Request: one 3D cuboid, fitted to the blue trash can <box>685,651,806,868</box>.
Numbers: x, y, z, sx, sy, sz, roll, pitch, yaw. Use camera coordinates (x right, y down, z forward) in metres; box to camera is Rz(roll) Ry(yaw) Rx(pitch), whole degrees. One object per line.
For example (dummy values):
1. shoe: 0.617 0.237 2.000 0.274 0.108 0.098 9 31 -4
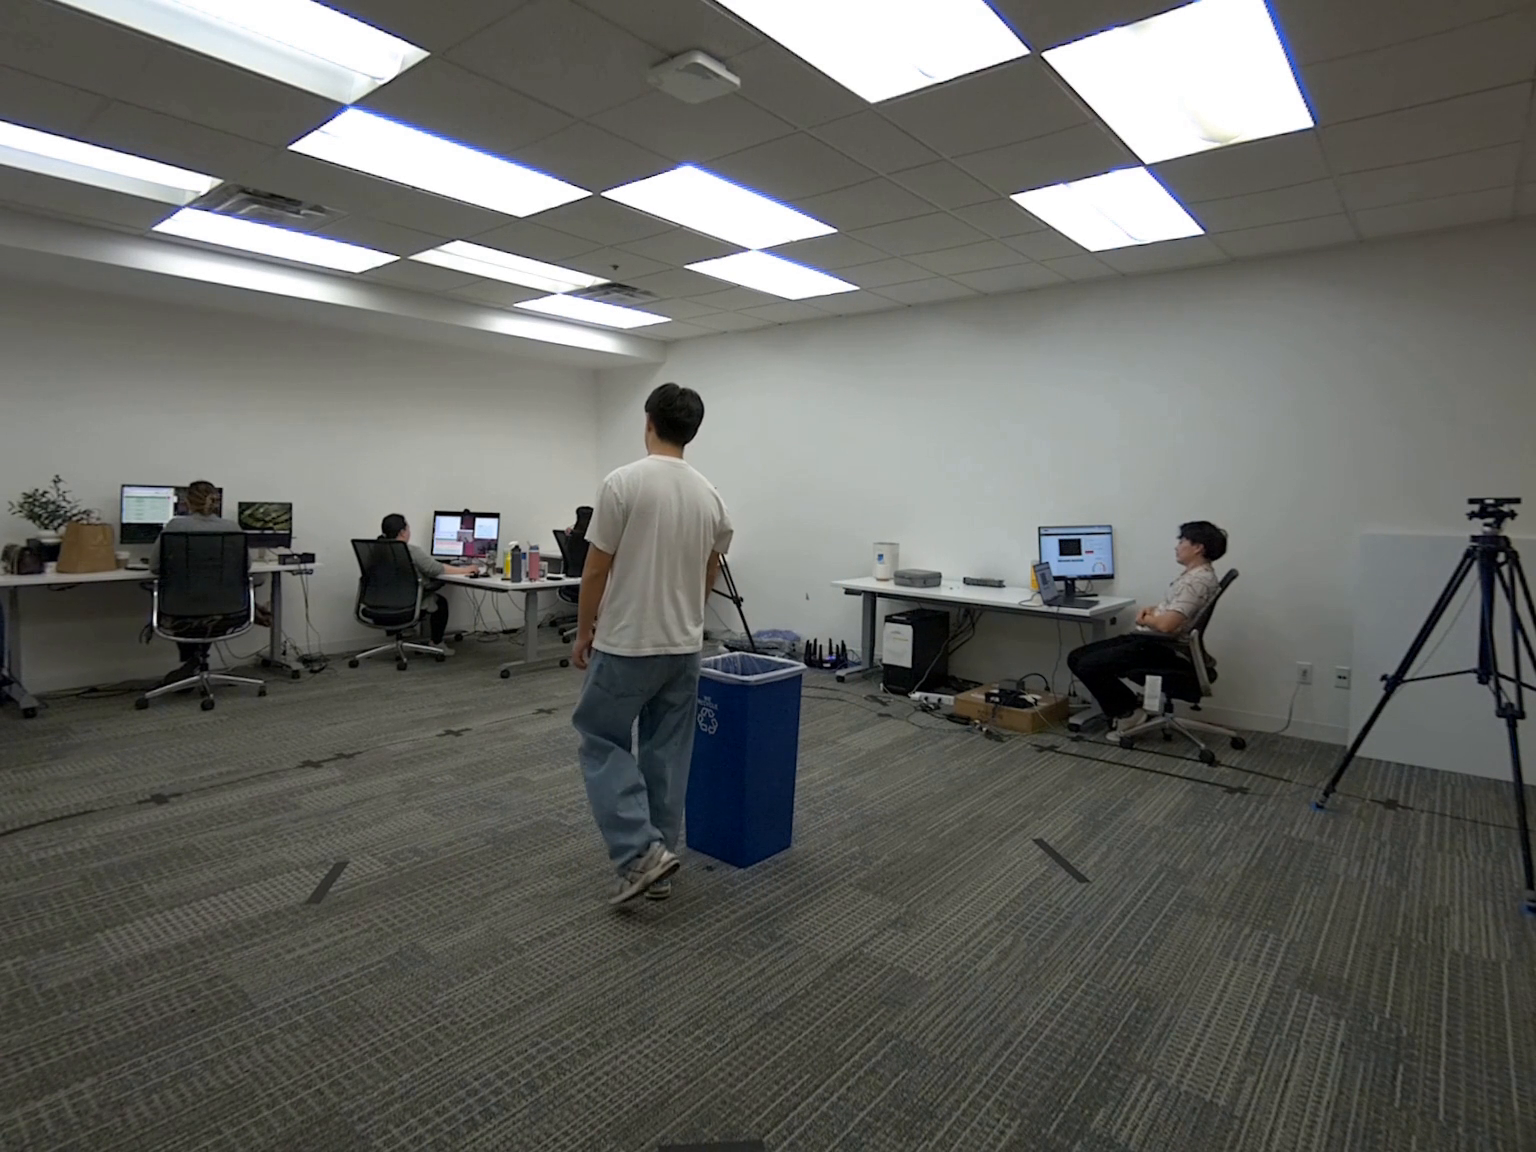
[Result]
1. blue trash can: -0.105 0.691 3.294 0.386 0.711 0.367 3 4 40
